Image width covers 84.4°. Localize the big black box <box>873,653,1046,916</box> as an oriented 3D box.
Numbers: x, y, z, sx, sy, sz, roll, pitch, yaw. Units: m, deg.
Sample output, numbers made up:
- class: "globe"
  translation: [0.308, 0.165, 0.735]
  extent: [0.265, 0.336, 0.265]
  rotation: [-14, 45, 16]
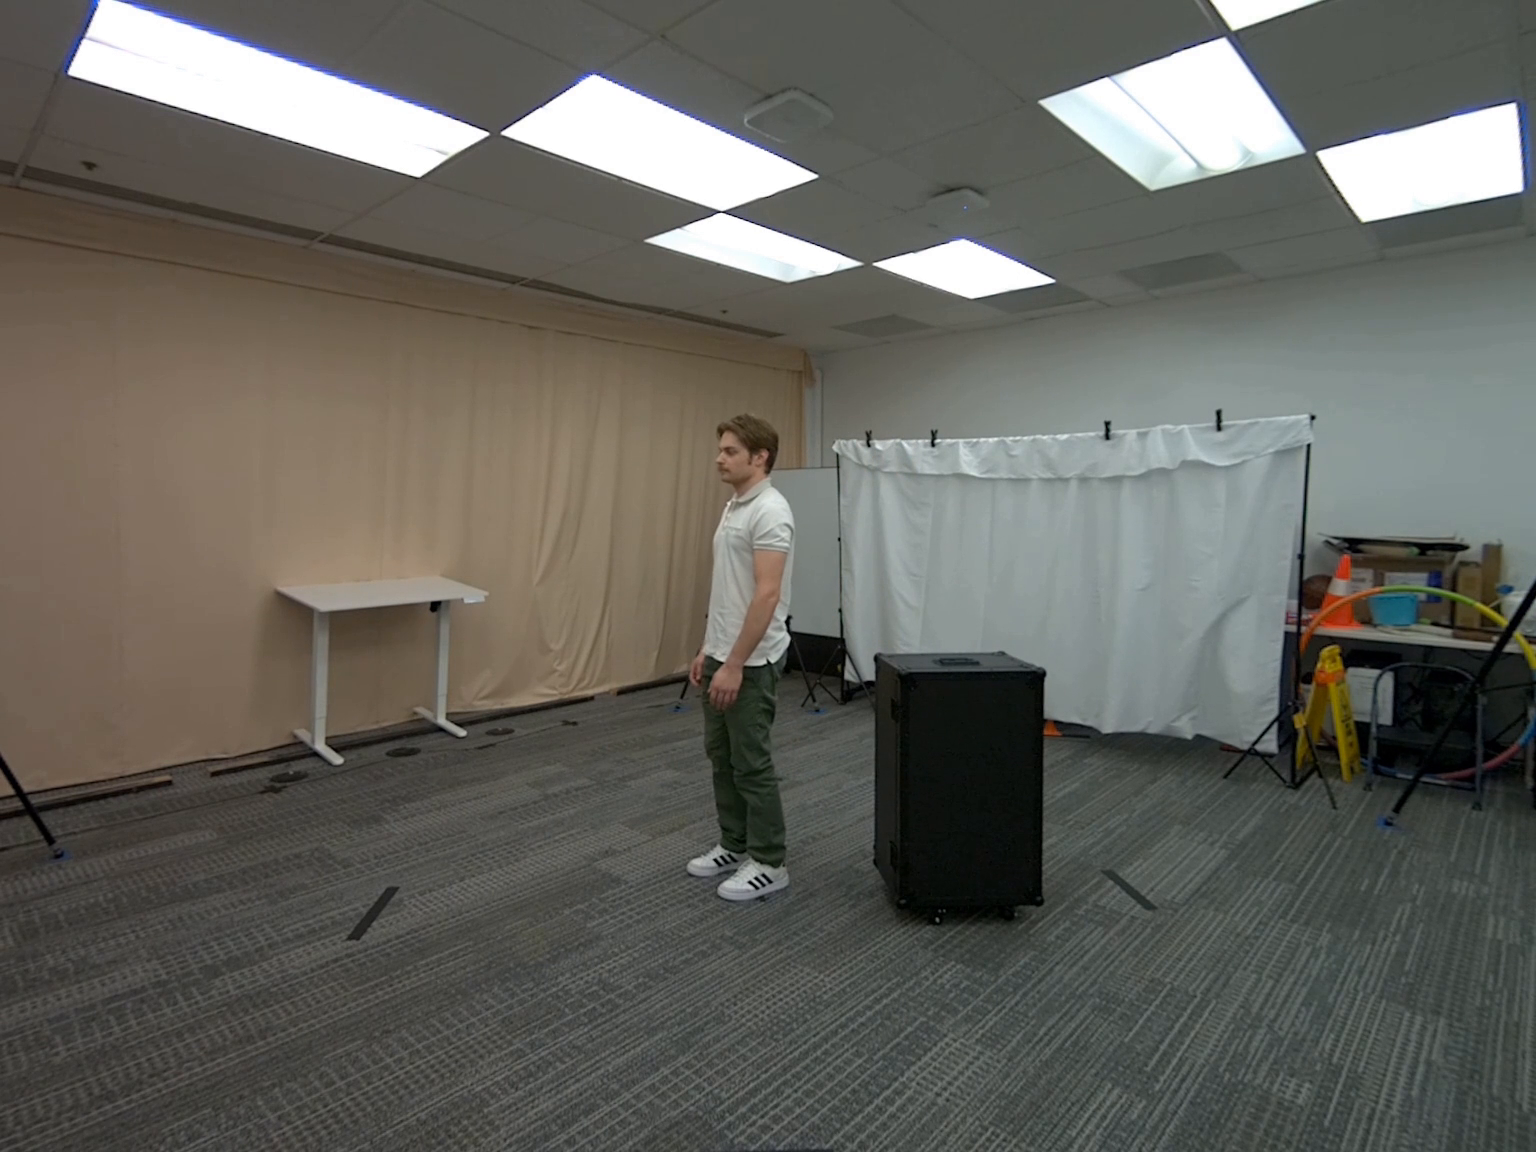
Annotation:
- class: "big black box"
  translation: [0.649, 0.727, 2.931]
  extent: [0.520, 0.860, 0.398]
  rotation: [0, 2, -3]
